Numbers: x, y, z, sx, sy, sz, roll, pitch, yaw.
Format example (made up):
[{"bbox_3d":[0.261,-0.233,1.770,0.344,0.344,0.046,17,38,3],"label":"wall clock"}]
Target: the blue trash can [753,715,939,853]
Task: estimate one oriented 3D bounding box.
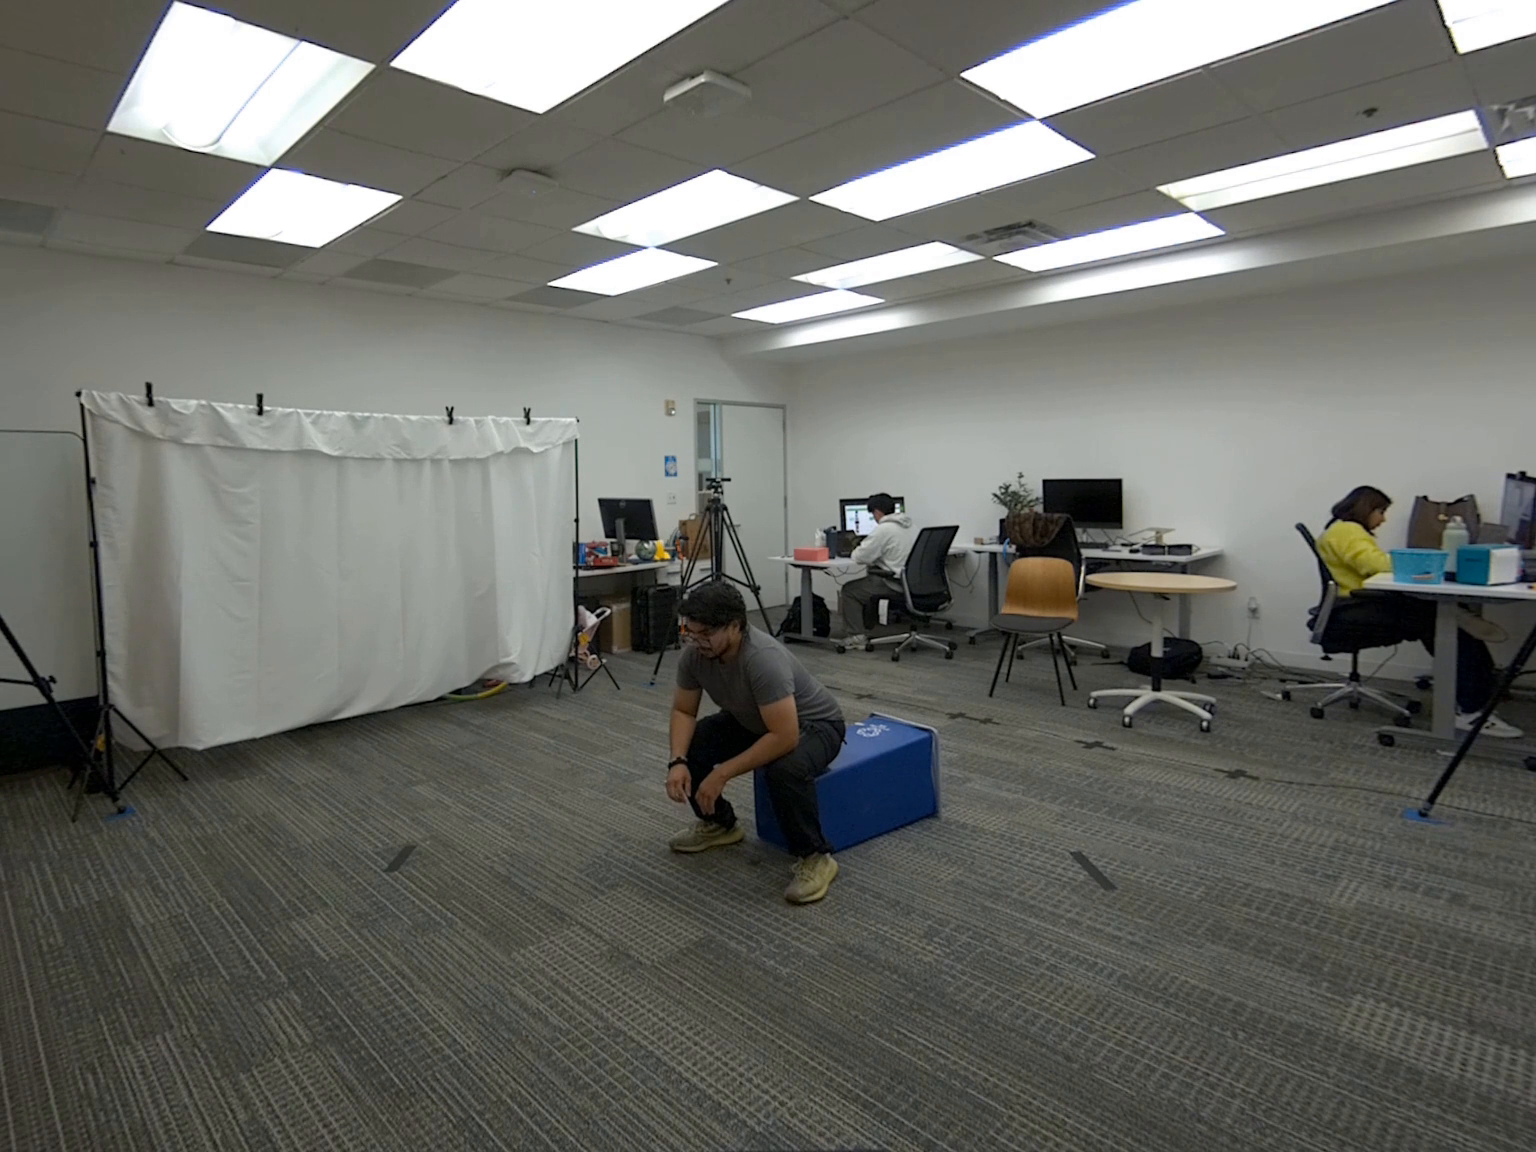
[{"bbox_3d":[0.321,0.825,3.409,0.696,0.372,0.389,-8,8,-39],"label":"blue trash can"}]
